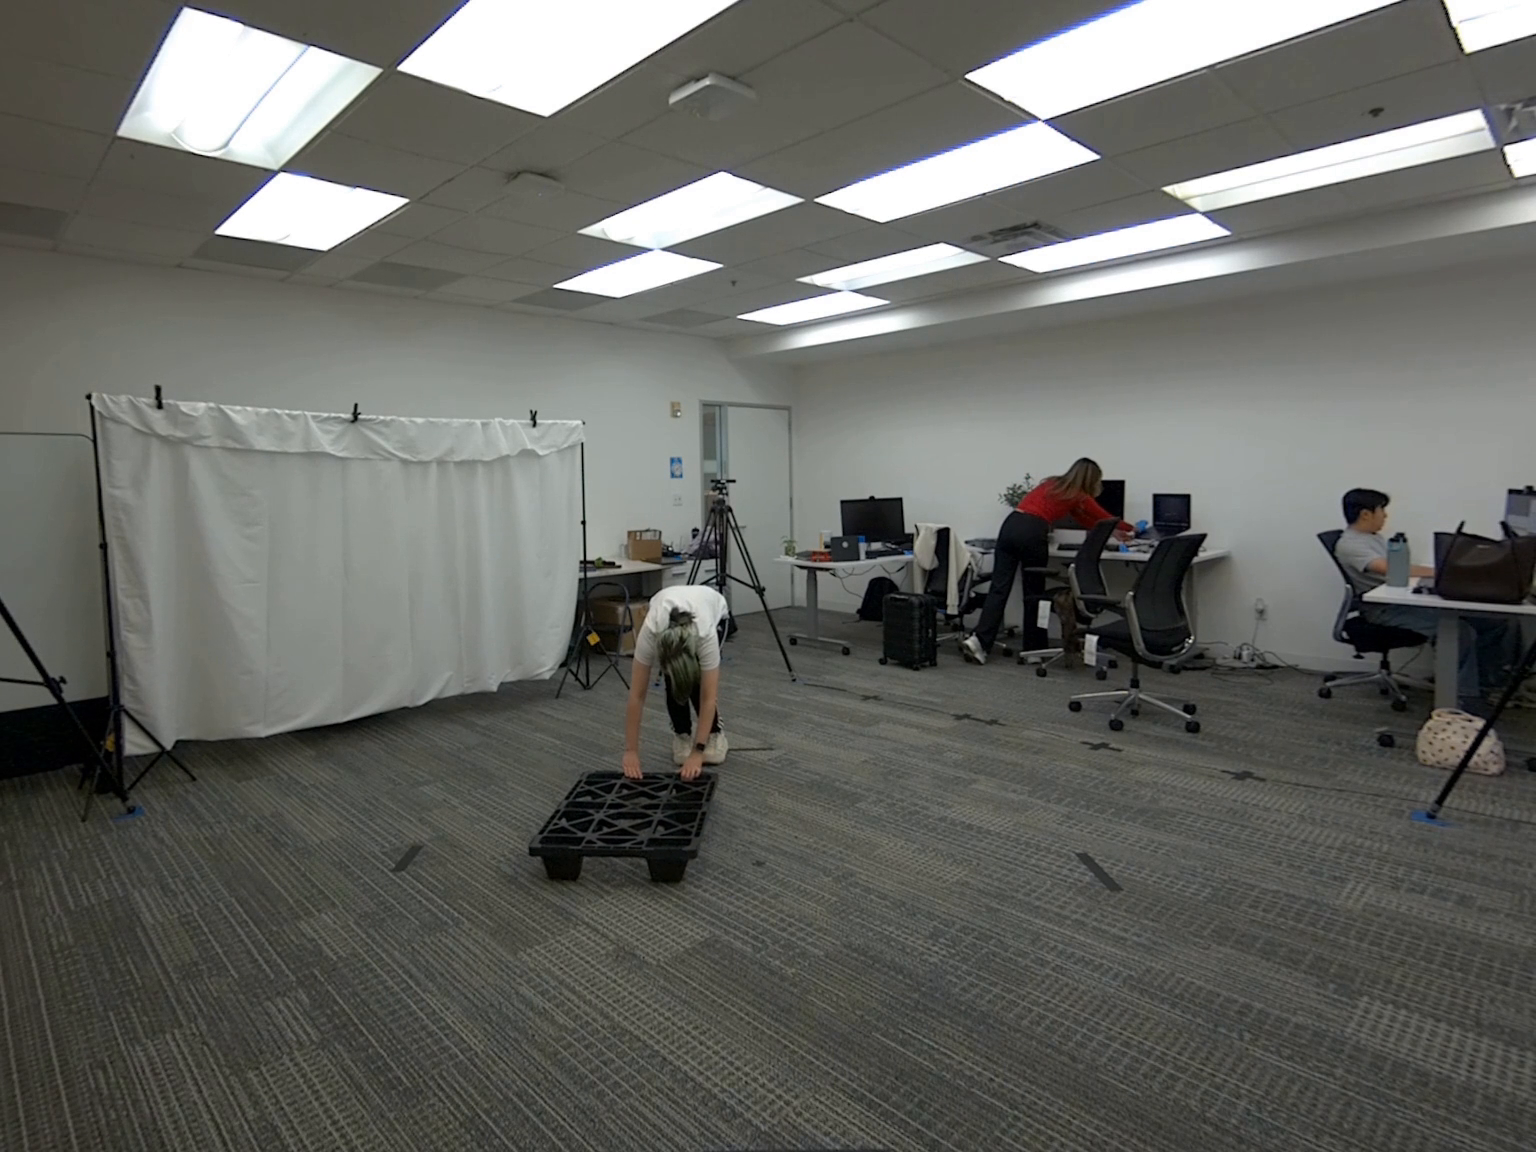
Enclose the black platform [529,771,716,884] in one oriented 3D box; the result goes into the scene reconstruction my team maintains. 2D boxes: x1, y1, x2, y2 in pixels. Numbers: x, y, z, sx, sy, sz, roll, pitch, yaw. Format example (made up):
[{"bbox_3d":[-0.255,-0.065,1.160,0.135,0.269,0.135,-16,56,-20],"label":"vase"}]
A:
[{"bbox_3d":[-0.528,0.965,3.349,0.608,0.143,0.805,-2,5,4],"label":"black platform"}]
